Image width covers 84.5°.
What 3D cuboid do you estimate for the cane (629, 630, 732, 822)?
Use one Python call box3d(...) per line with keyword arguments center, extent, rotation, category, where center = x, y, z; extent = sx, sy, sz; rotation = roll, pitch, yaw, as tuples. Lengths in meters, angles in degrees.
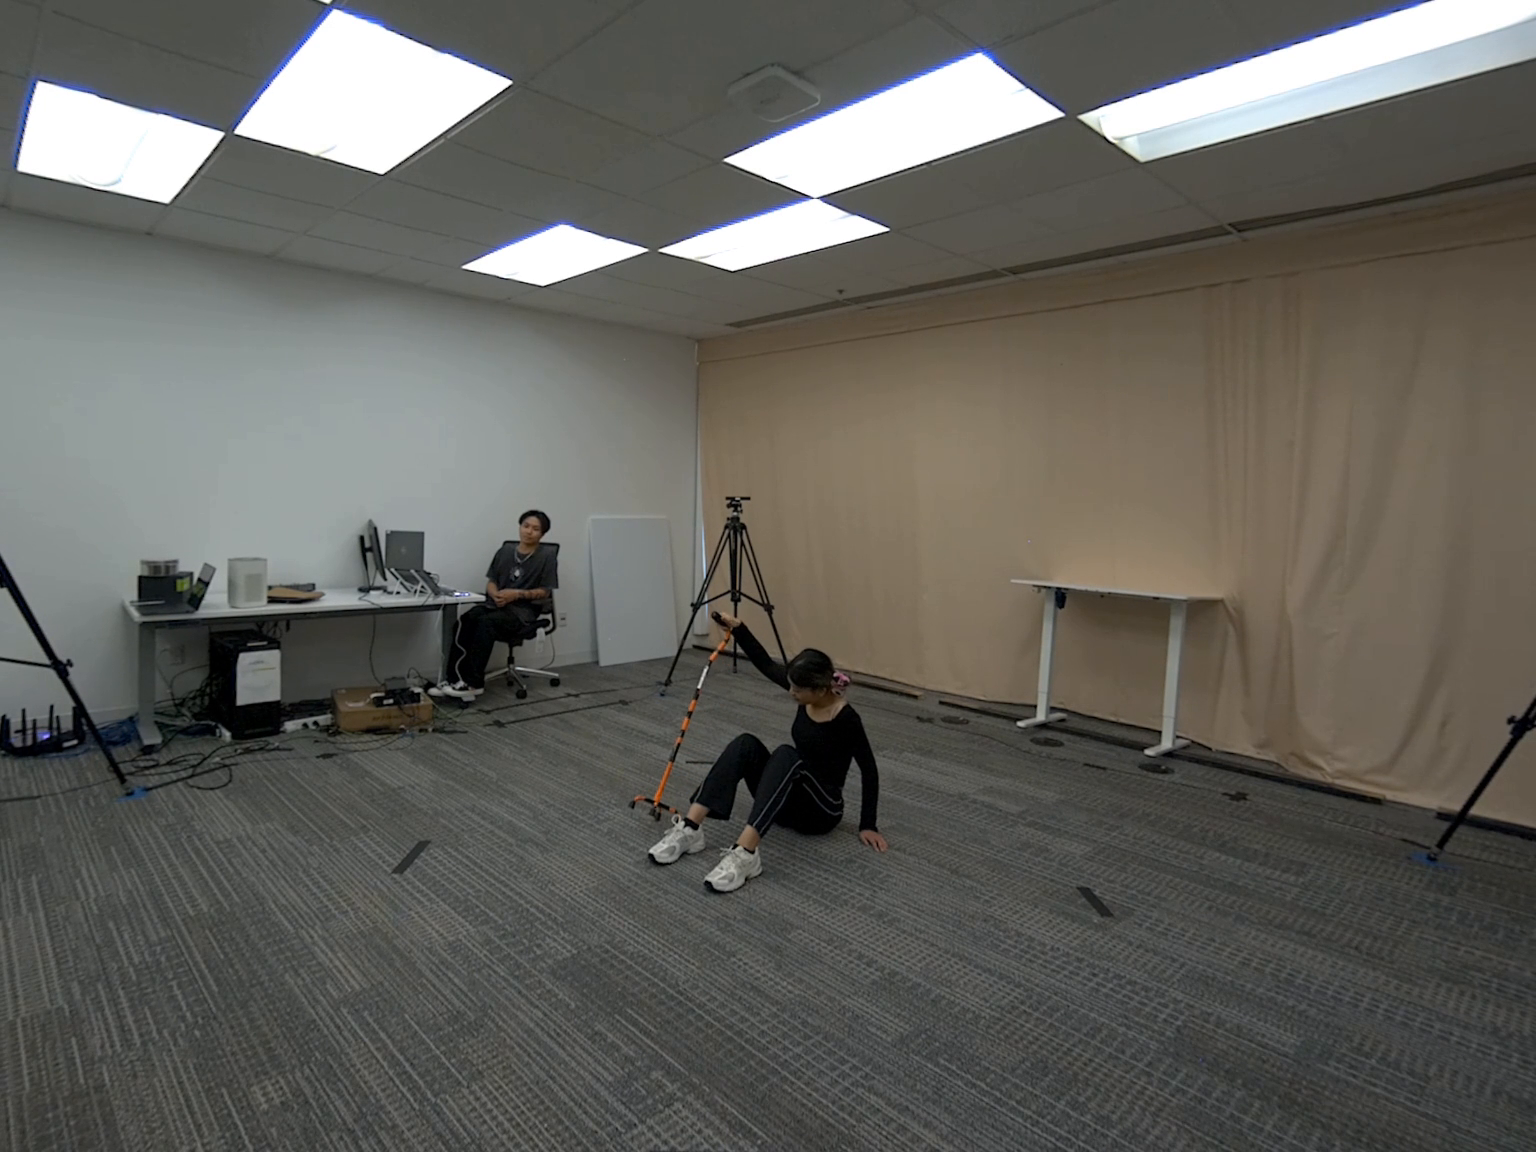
box3d(center=(-0.337, 0.606, 3.678), extent=(0.155, 0.915, 0.200), rotation=(7, -22, 33), category="cane")
